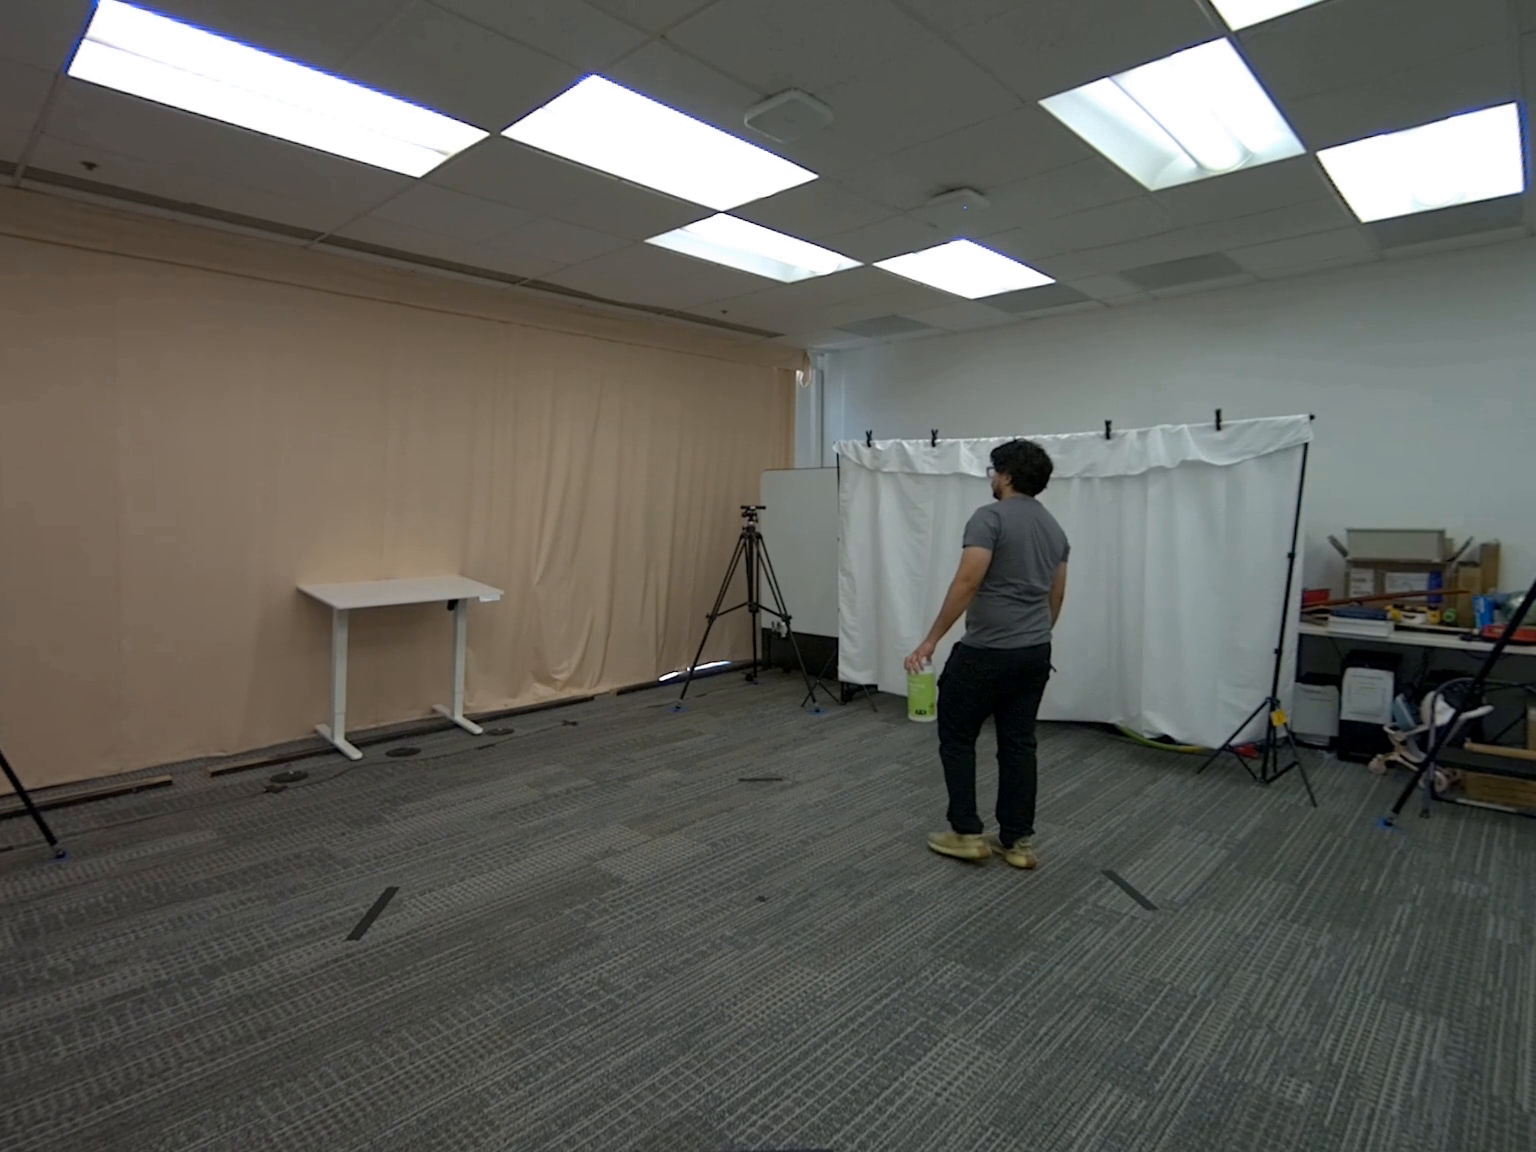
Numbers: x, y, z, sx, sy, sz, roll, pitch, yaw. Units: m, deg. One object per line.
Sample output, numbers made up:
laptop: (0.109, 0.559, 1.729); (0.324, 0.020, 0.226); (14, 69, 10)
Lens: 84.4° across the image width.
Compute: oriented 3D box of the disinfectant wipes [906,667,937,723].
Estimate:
disinfectant wipes: (0.603, 0.454, 3.248); (0.118, 0.217, 0.118); (-4, 3, -2)
